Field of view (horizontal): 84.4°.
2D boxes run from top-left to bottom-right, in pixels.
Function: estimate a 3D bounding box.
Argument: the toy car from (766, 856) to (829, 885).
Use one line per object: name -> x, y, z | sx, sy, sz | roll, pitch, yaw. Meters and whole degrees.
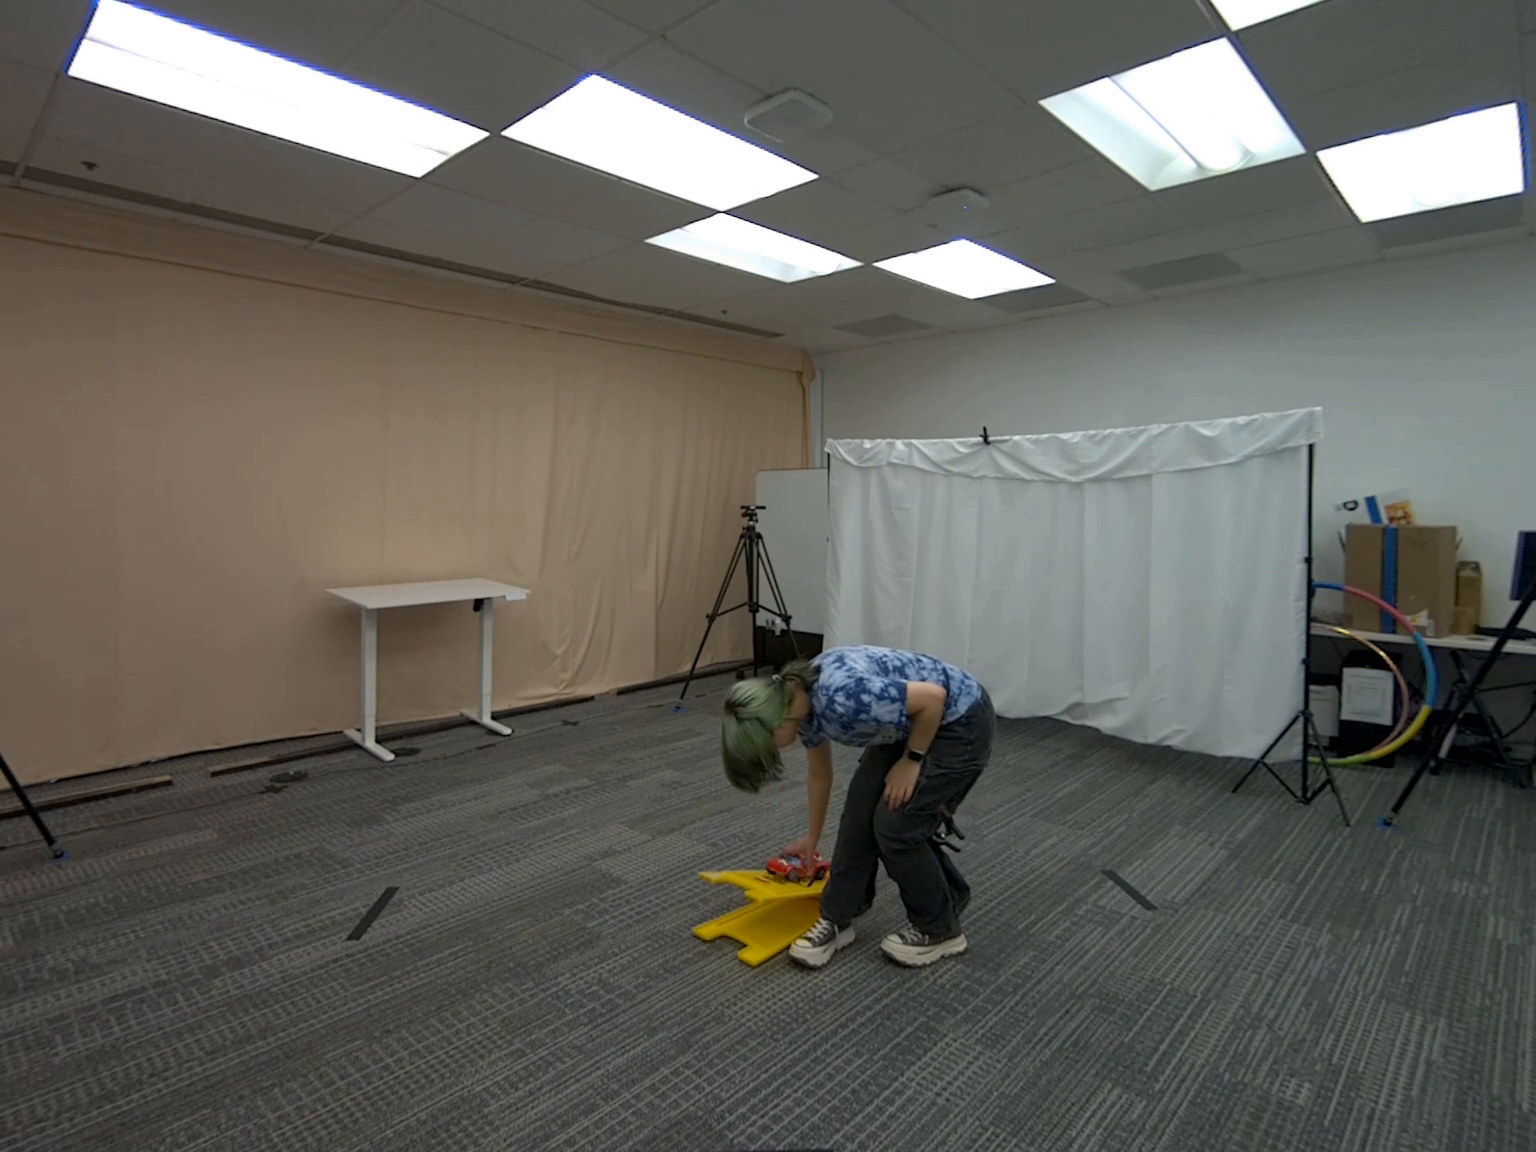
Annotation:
toy car -> 0.119, 1.013, 2.906 | 0.246, 0.083, 0.134 | 2, -1, -43
